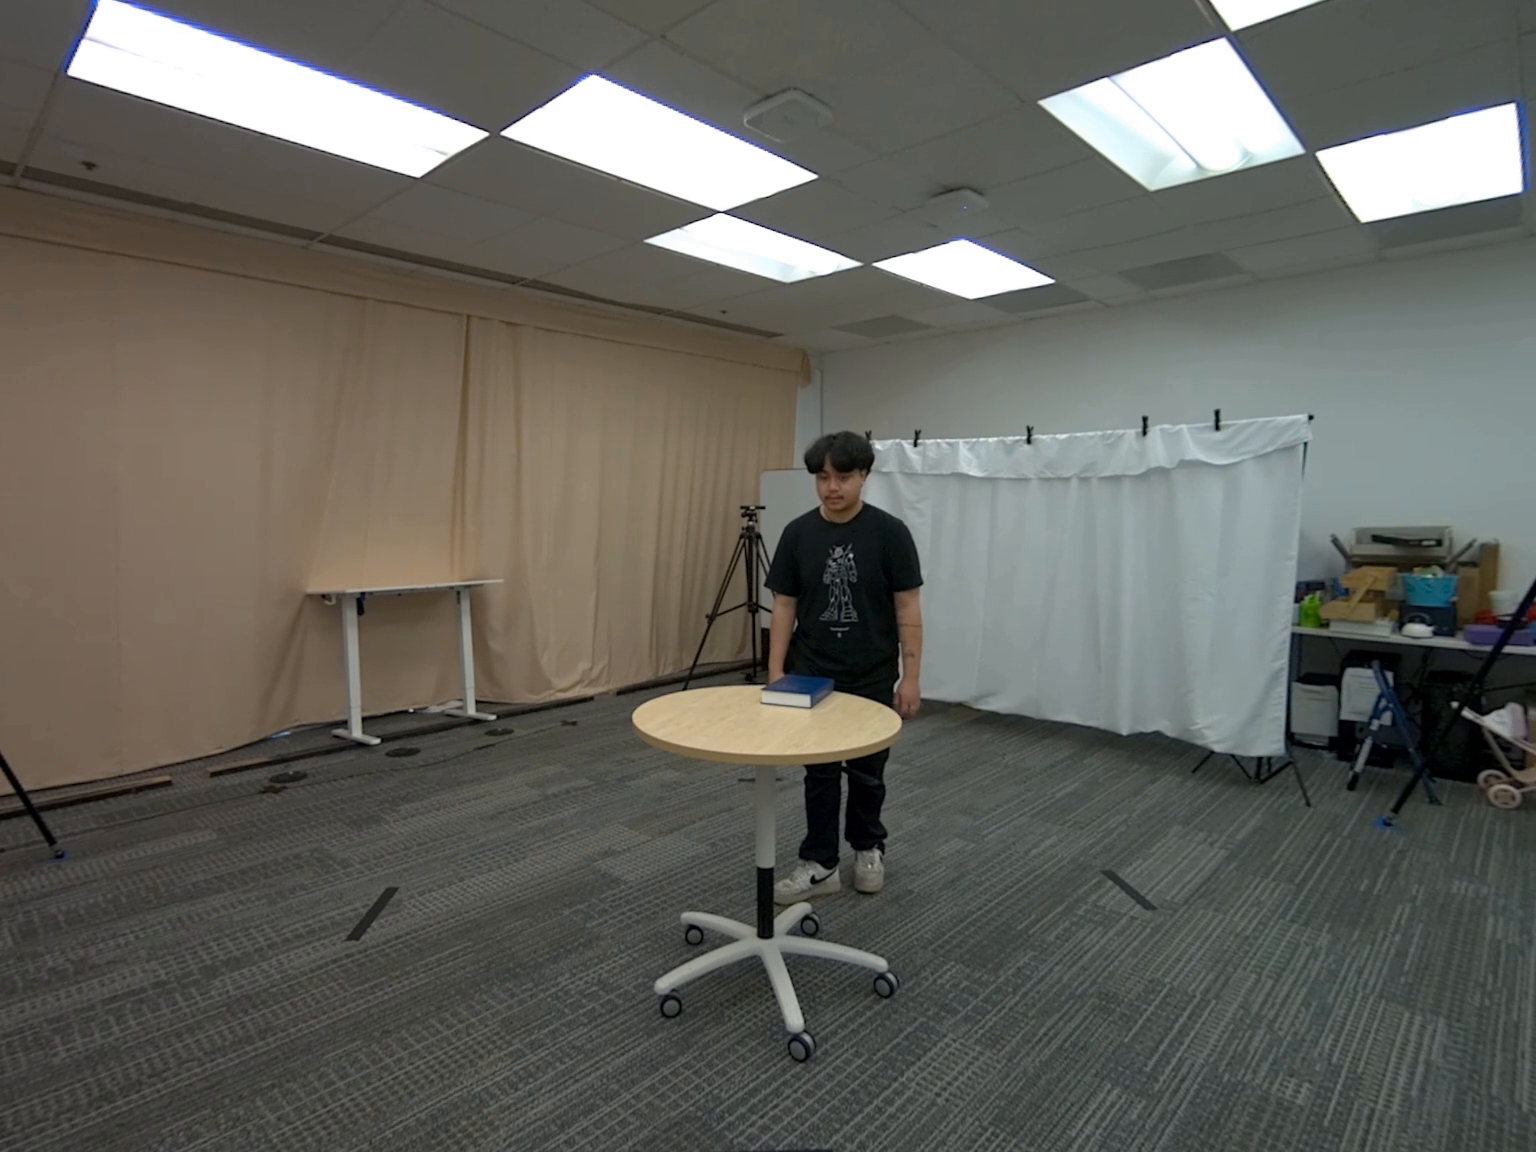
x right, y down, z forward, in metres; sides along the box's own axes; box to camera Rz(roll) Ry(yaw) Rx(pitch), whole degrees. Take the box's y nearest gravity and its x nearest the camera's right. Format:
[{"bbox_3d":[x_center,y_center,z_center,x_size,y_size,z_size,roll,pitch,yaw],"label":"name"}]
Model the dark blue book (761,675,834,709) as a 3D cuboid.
[{"bbox_3d":[0.096,0.358,2.630,0.167,0.045,0.240,2,6,22],"label":"dark blue book"}]
